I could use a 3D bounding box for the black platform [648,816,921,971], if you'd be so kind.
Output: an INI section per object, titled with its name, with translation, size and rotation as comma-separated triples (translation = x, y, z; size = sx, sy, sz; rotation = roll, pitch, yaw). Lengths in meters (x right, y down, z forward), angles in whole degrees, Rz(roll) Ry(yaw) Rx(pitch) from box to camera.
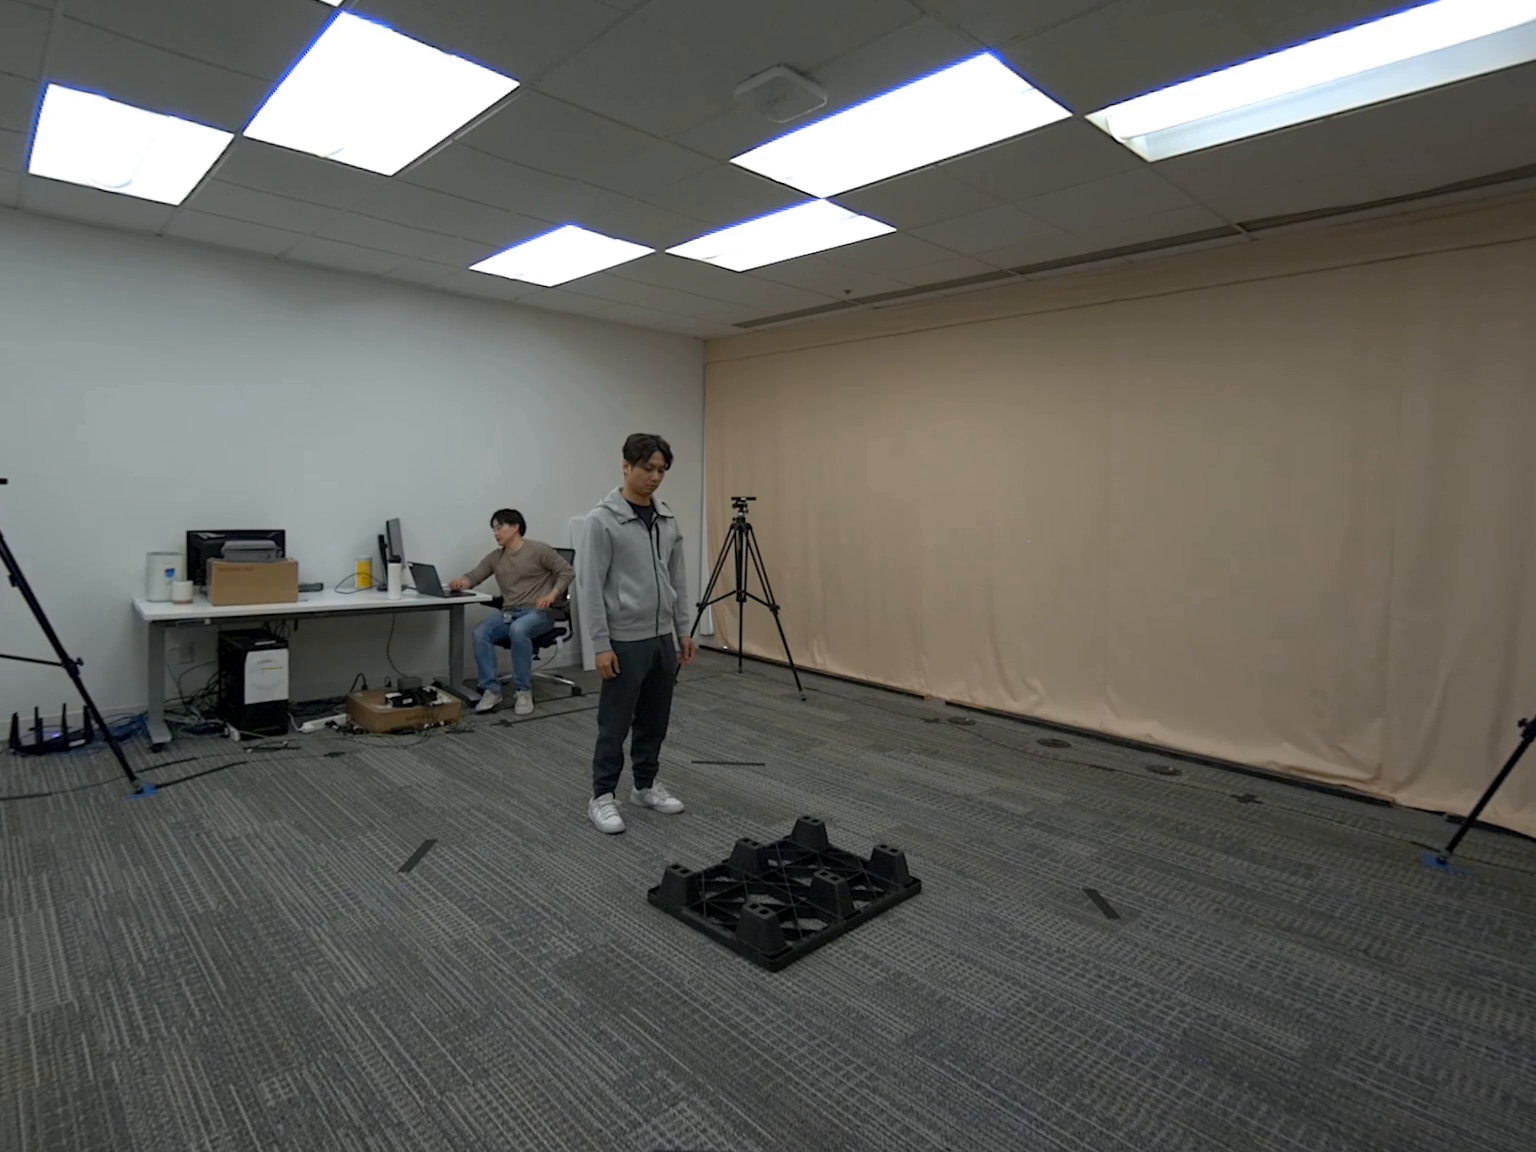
[black platform]
translation = 0.062, 1.060, 2.945
size = 0.621, 0.143, 0.787
rotation = 6, 7, 44
